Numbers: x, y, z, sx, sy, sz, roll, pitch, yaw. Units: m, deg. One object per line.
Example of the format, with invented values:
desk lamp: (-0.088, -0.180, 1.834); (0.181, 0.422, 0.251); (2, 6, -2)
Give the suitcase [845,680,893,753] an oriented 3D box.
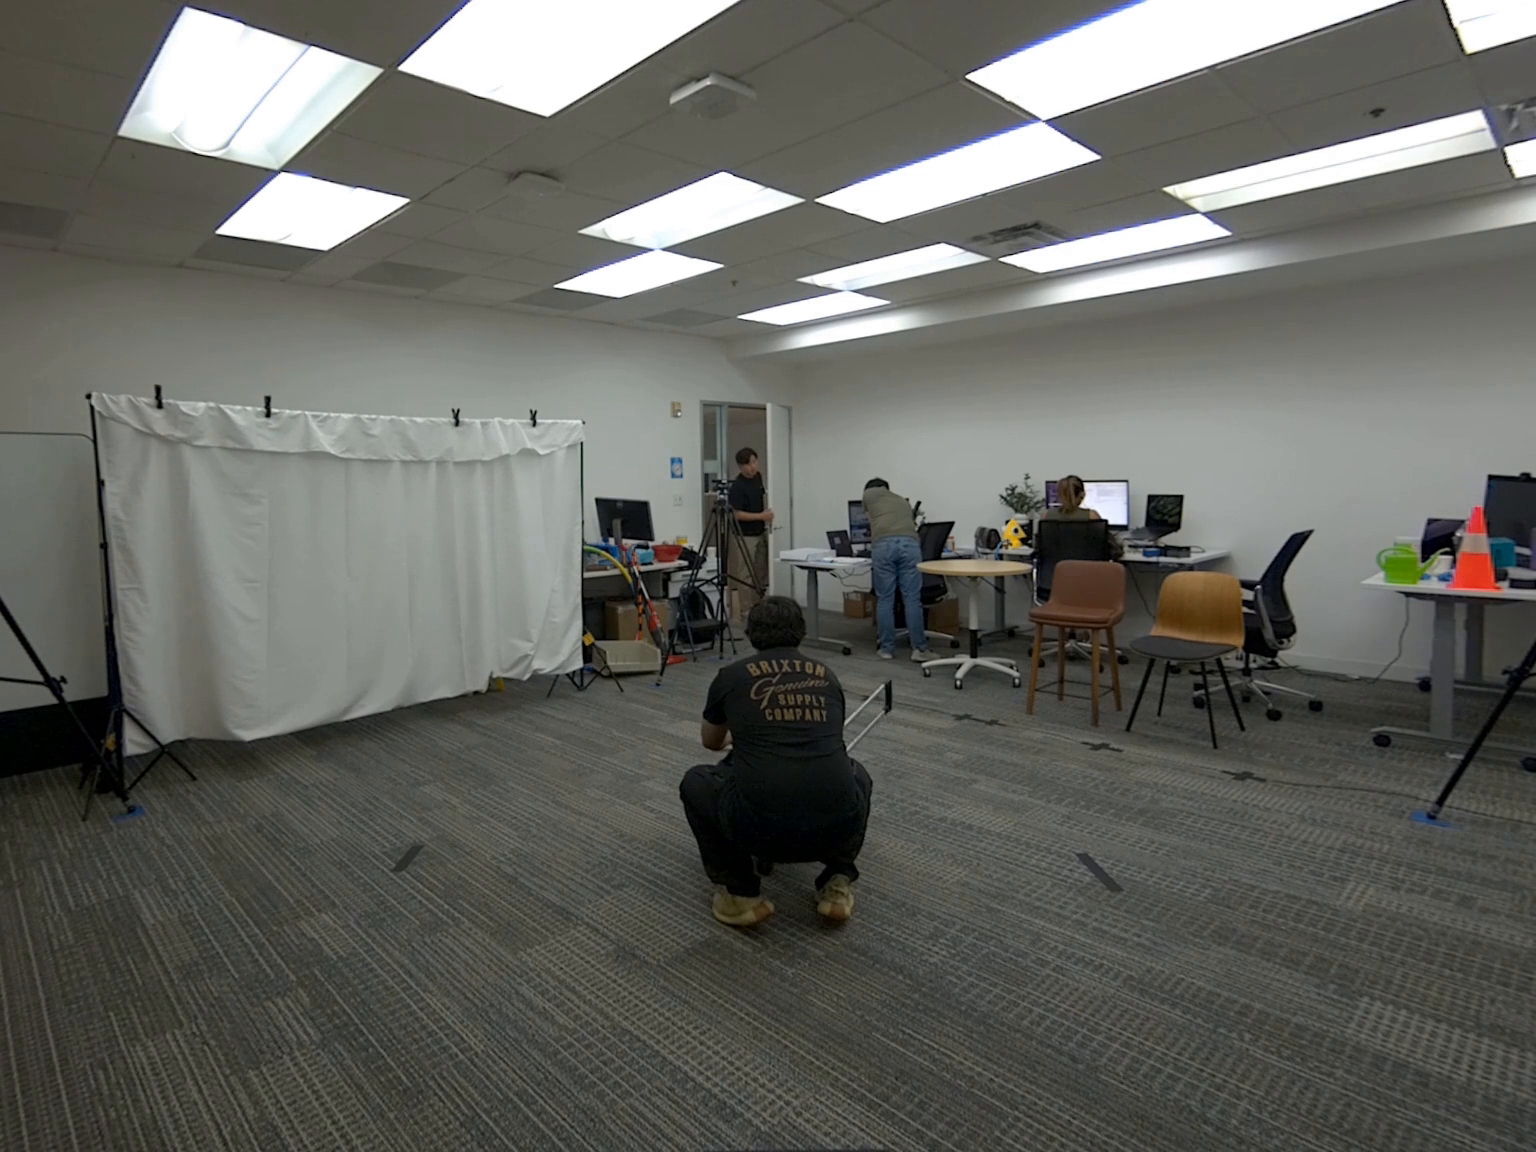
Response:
suitcase: (0.159, 0.678, 3.353); (0.265, 0.375, 0.969); (10, 30, 35)
